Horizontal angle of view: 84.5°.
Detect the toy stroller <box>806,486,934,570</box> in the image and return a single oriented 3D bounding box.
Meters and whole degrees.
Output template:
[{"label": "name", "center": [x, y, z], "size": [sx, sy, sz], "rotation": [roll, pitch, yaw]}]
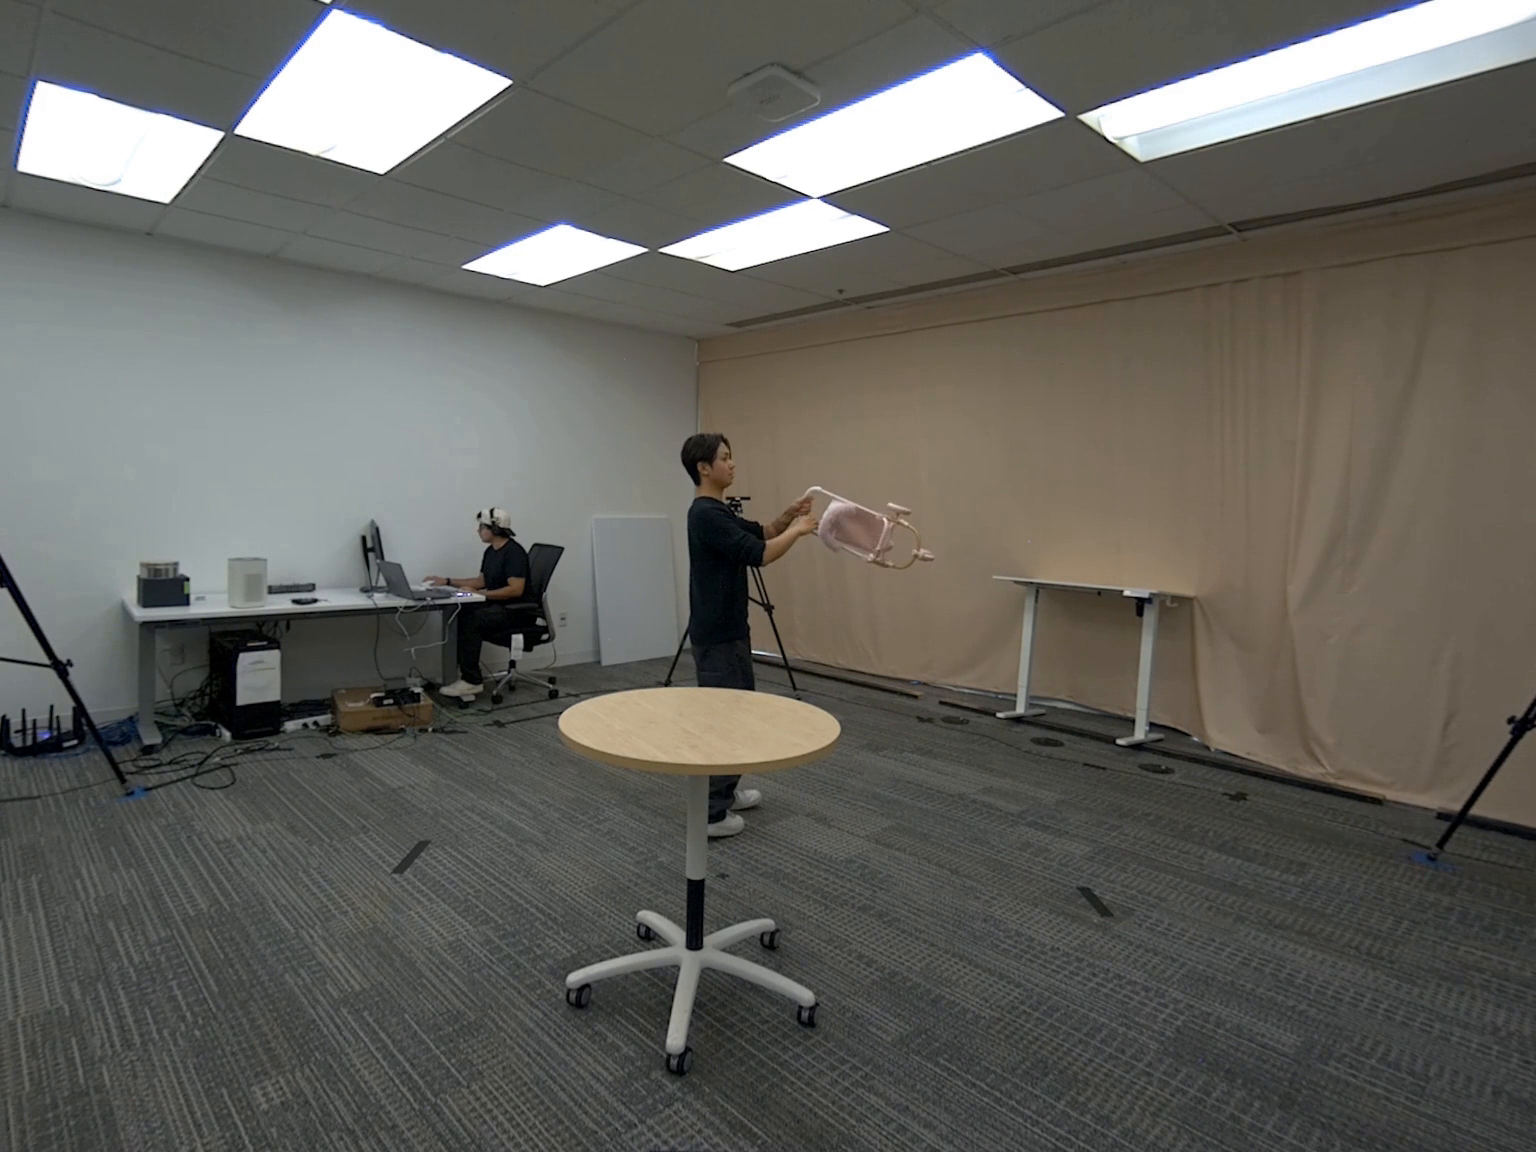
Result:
[{"label": "toy stroller", "center": [0.416, -0.182, 3.613], "size": [0.526, 0.279, 0.349], "rotation": [16, 18, -17]}]
